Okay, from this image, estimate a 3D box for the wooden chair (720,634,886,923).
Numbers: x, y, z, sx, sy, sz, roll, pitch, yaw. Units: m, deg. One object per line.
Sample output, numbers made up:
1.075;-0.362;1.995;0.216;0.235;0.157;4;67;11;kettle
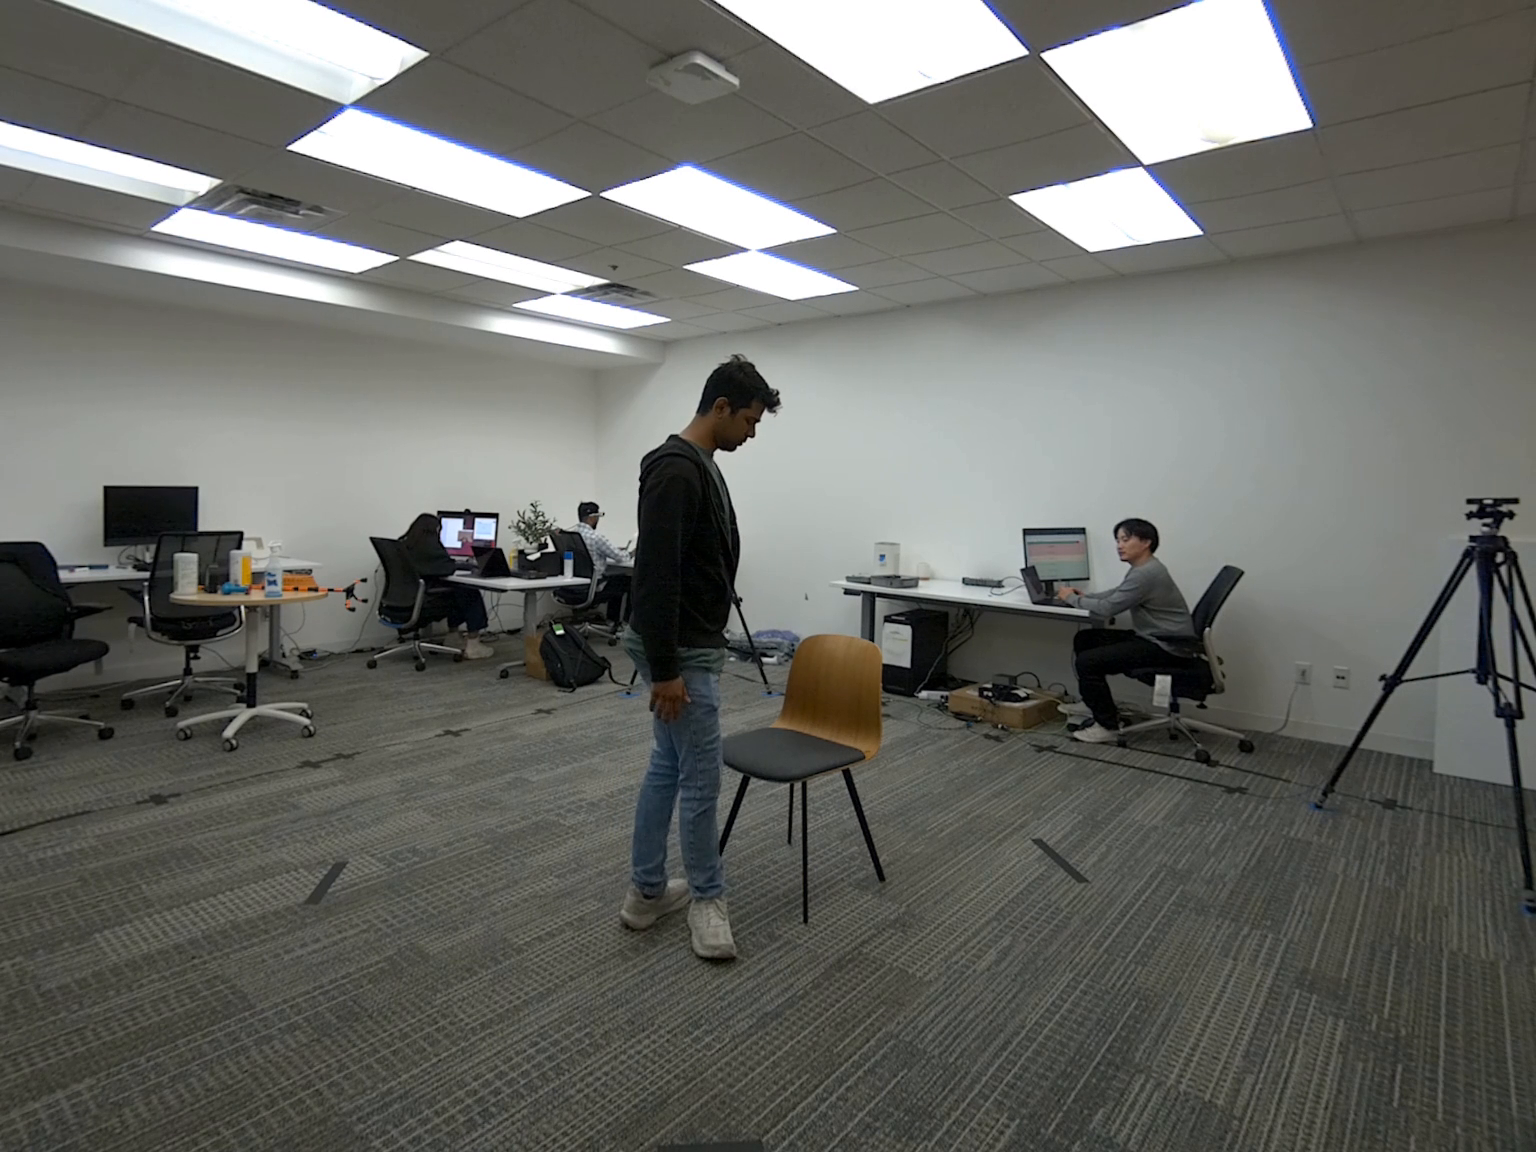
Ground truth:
0.103;0.658;3.013;0.494;0.877;0.506;5;1;43;wooden chair
